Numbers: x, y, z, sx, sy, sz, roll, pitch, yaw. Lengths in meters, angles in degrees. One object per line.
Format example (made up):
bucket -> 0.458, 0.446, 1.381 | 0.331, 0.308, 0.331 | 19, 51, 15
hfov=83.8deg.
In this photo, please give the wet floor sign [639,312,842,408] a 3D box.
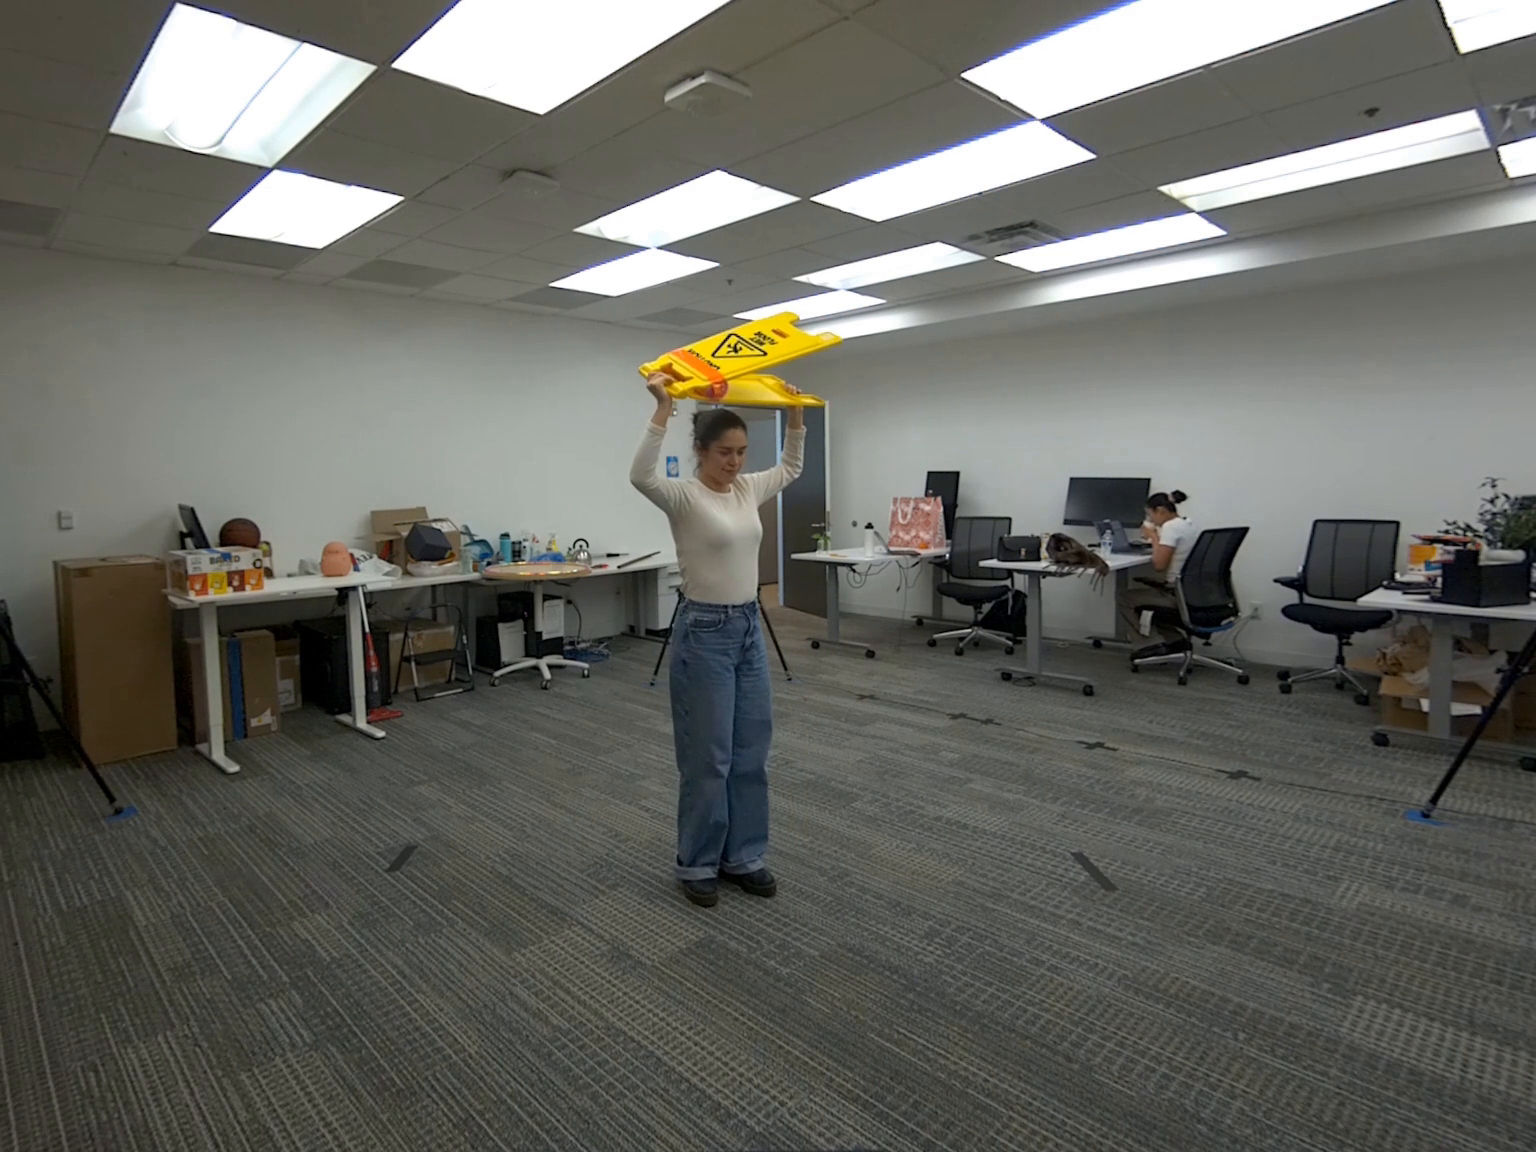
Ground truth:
wet floor sign -> -0.101, -0.661, 2.734 | 0.634, 0.284, 0.293 | -20, 45, -39
